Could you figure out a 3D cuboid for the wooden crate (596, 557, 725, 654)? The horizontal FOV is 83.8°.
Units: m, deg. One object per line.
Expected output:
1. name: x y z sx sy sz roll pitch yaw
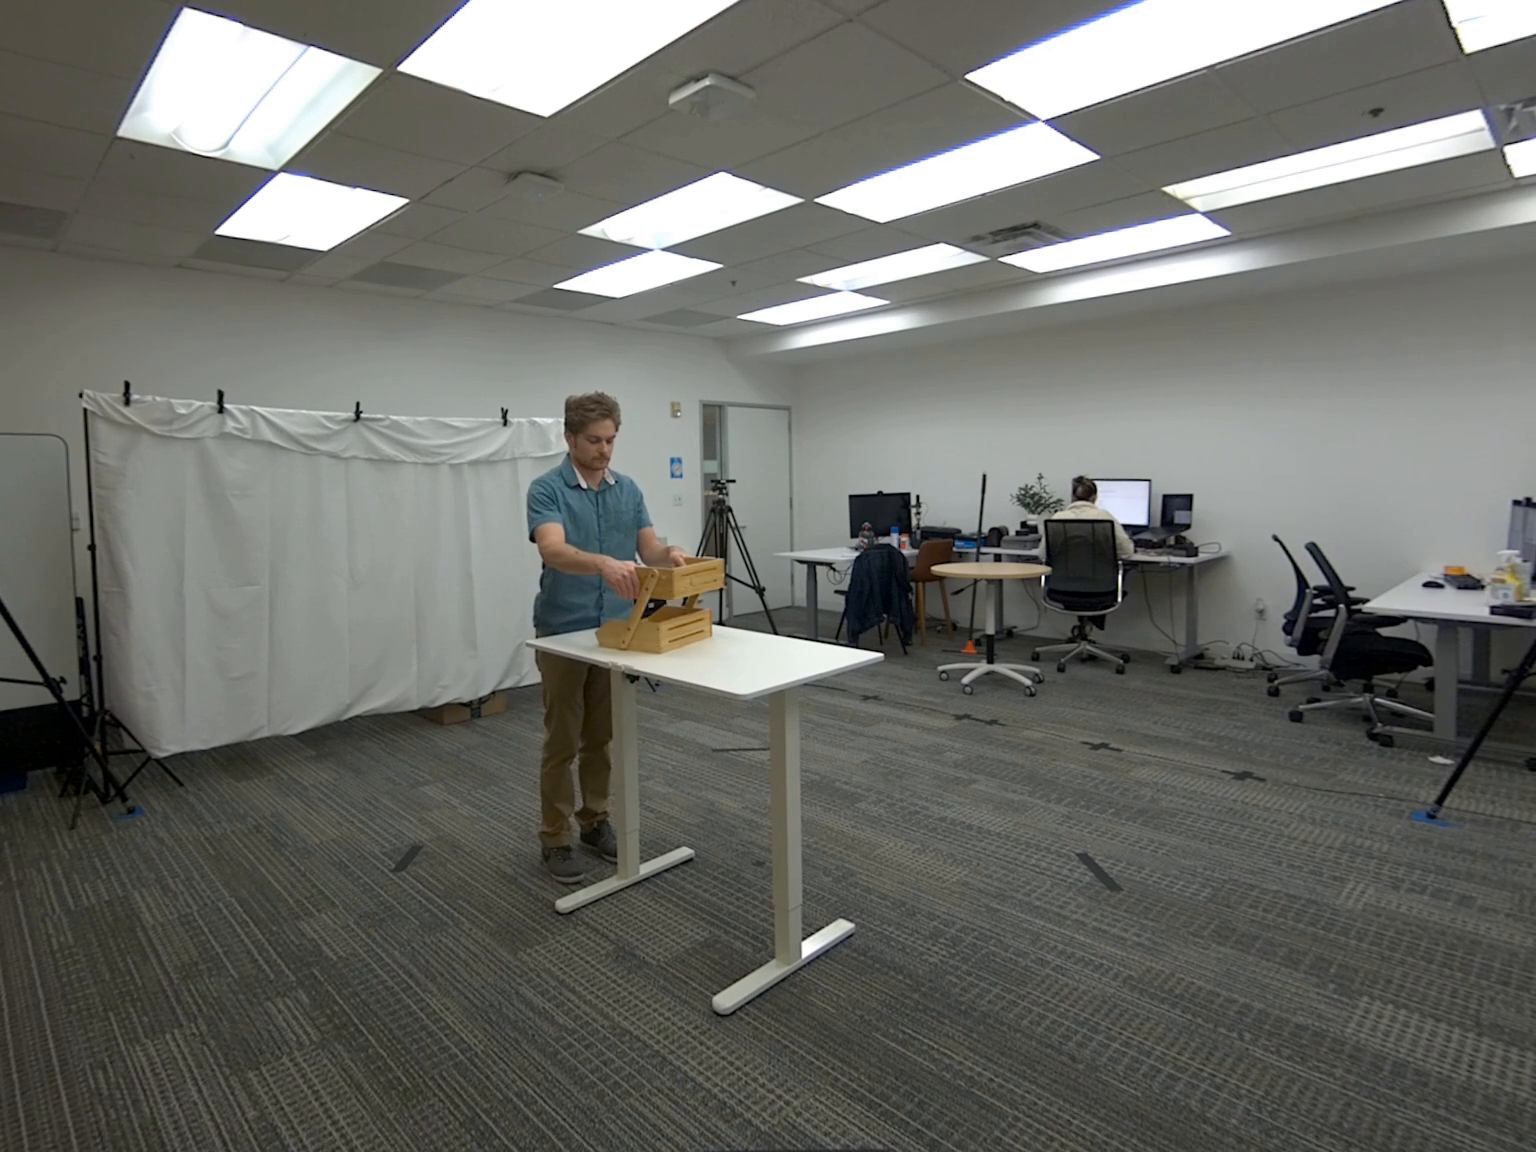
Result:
1. wooden crate: -0.342 0.084 2.727 0.310 0.272 0.318 3 8 27
